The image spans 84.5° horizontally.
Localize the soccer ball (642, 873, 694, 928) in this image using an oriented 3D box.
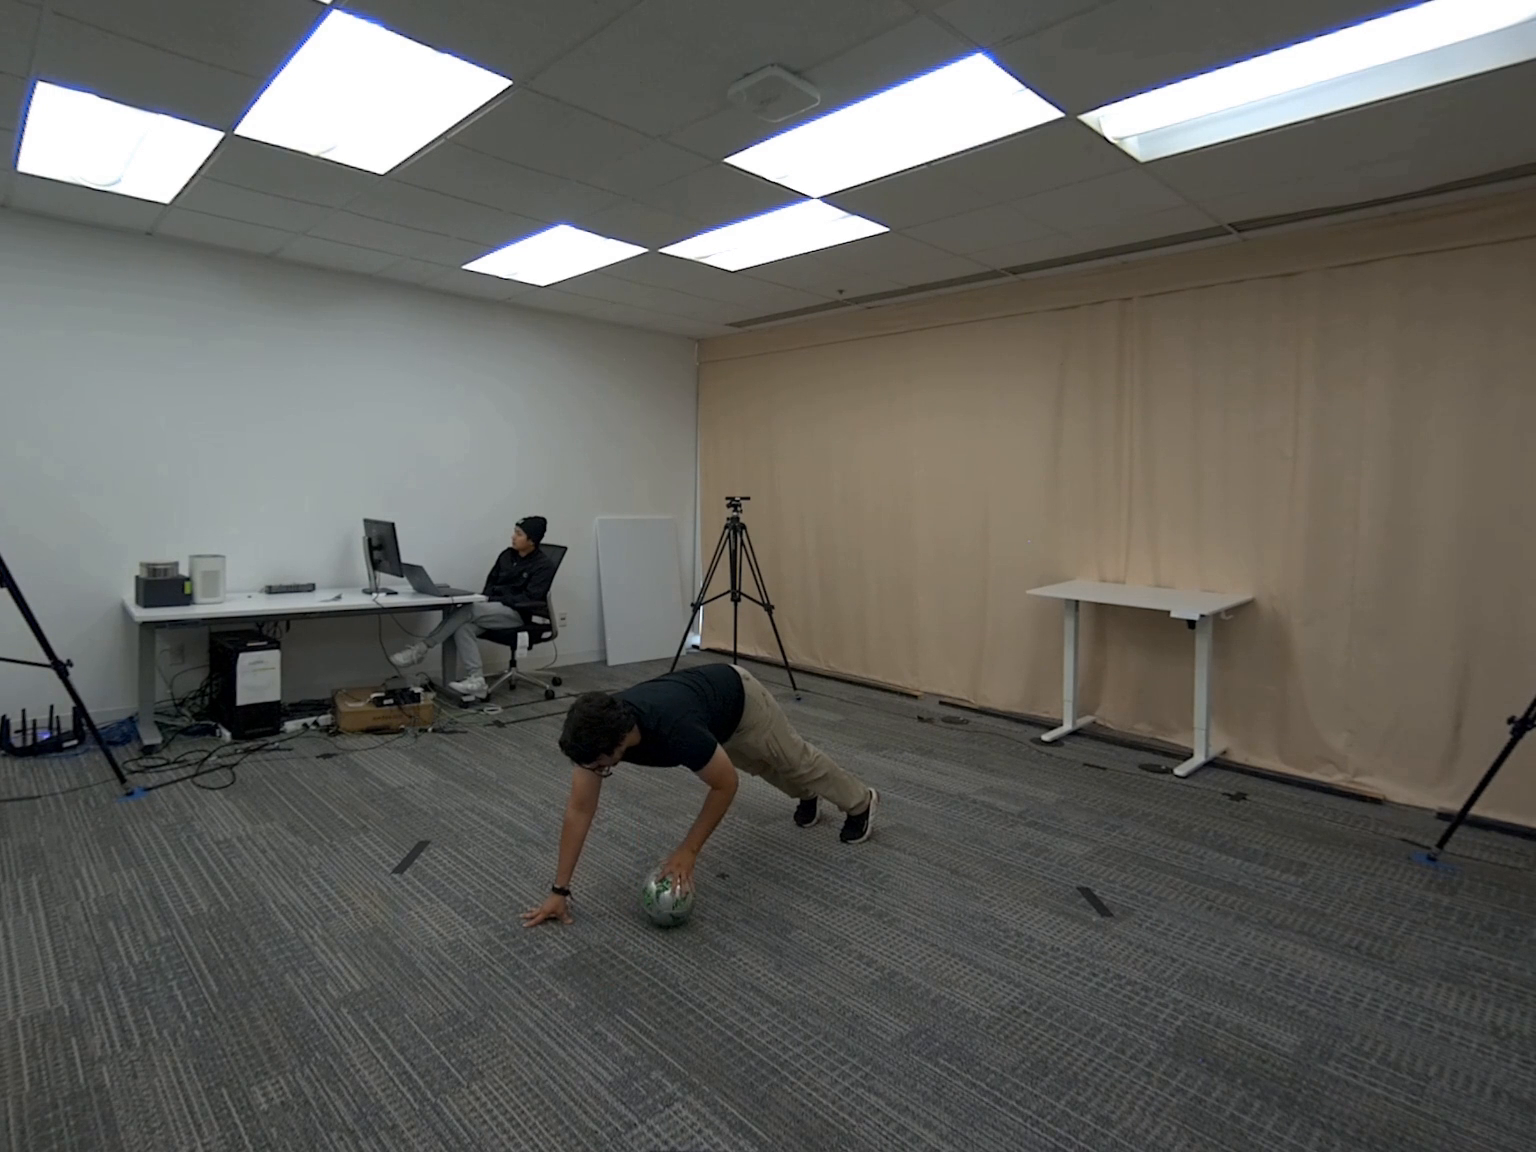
[{"bbox_3d":[-0.332,1.050,2.744,0.187,0.187,0.188,1,4,-1],"label":"soccer ball"}]
